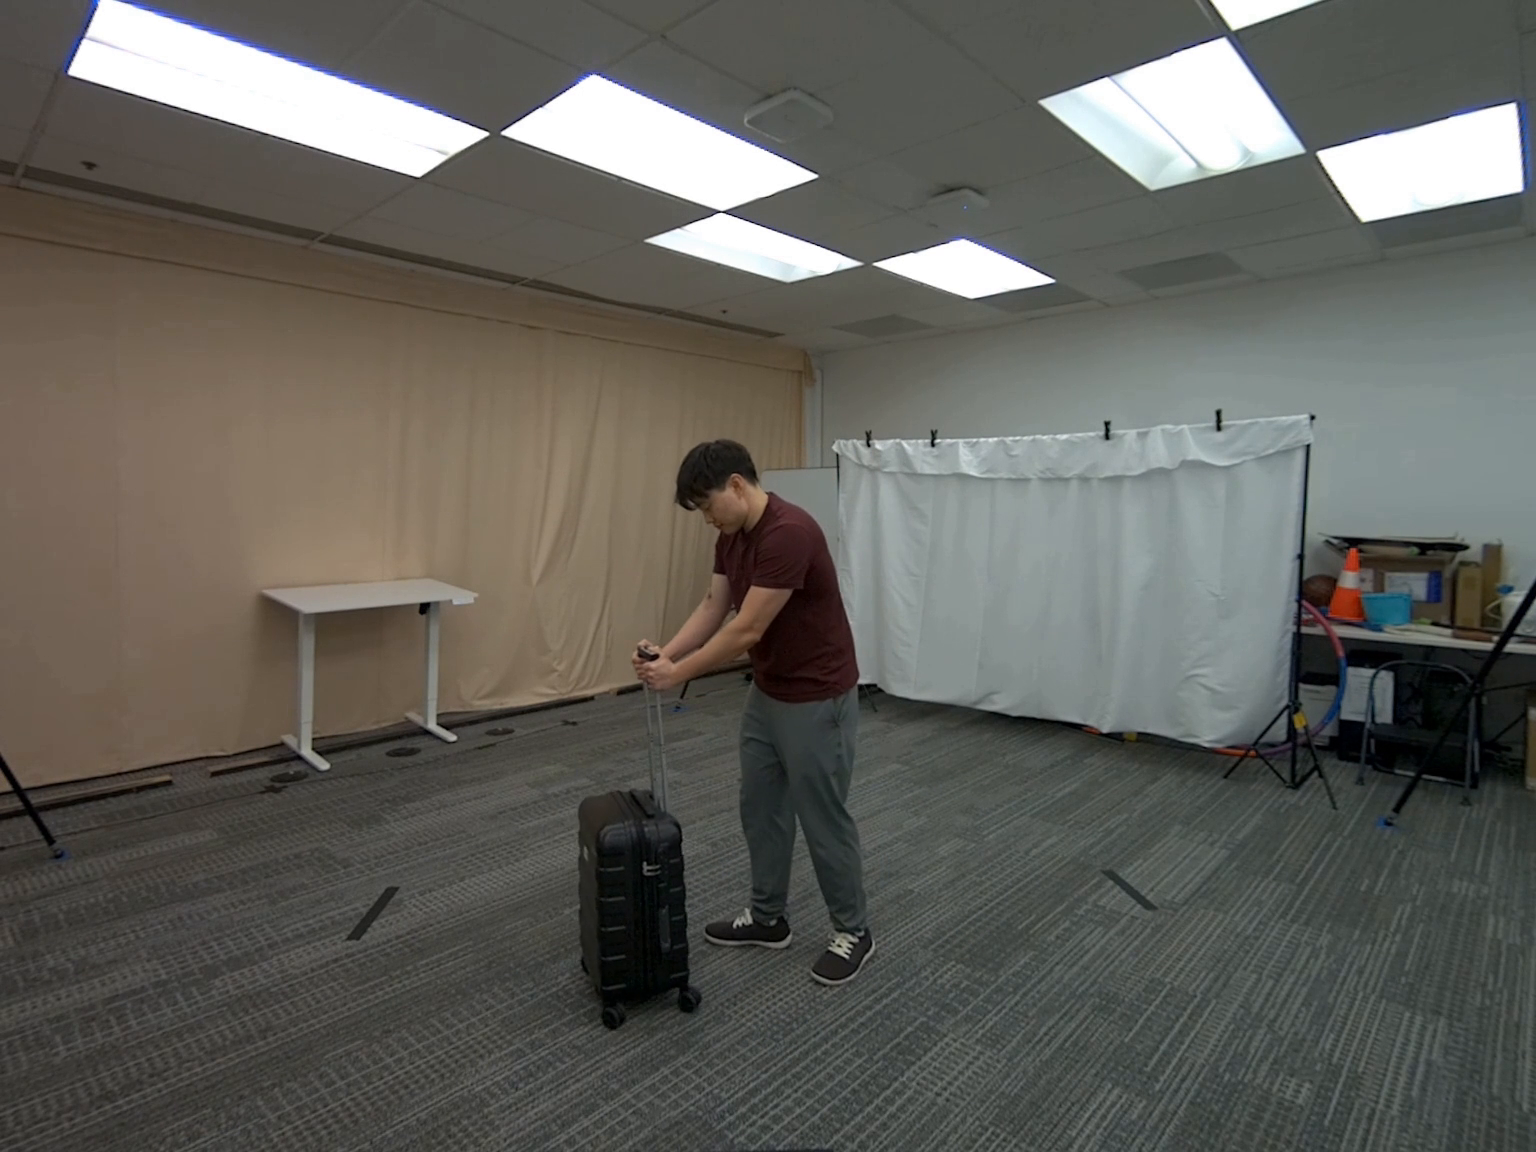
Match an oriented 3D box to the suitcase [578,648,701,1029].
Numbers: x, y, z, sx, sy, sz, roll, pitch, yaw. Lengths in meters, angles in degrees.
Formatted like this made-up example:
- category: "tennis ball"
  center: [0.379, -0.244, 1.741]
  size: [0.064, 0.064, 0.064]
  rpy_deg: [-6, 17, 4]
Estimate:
- category: "suitcase"
  center: [-0.405, 0.722, 2.410]
  size: [0.252, 0.977, 0.391]
  rpy_deg: [-5, 3, -19]
